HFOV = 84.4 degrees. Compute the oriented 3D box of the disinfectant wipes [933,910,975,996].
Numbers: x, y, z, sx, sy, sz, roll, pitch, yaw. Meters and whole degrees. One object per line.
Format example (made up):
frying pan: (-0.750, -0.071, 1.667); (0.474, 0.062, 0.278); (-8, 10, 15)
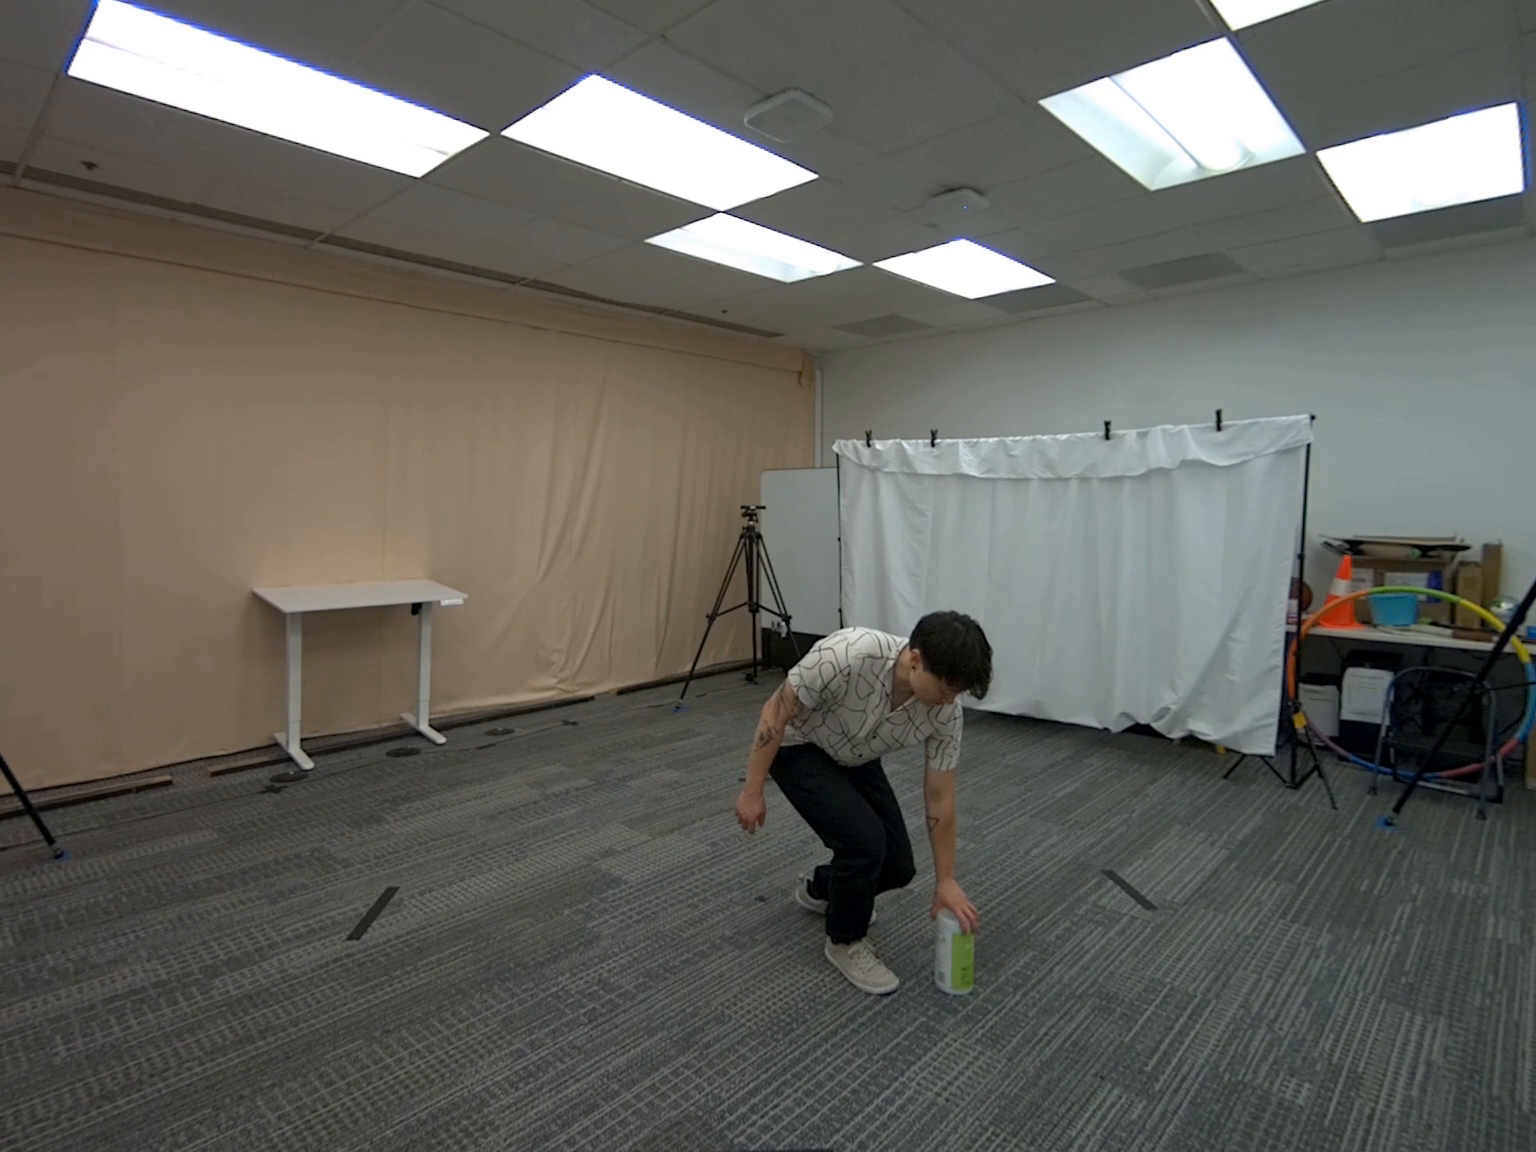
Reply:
disinfectant wipes: (0.546, 1.087, 2.421); (0.118, 0.217, 0.118); (1, 2, -2)
